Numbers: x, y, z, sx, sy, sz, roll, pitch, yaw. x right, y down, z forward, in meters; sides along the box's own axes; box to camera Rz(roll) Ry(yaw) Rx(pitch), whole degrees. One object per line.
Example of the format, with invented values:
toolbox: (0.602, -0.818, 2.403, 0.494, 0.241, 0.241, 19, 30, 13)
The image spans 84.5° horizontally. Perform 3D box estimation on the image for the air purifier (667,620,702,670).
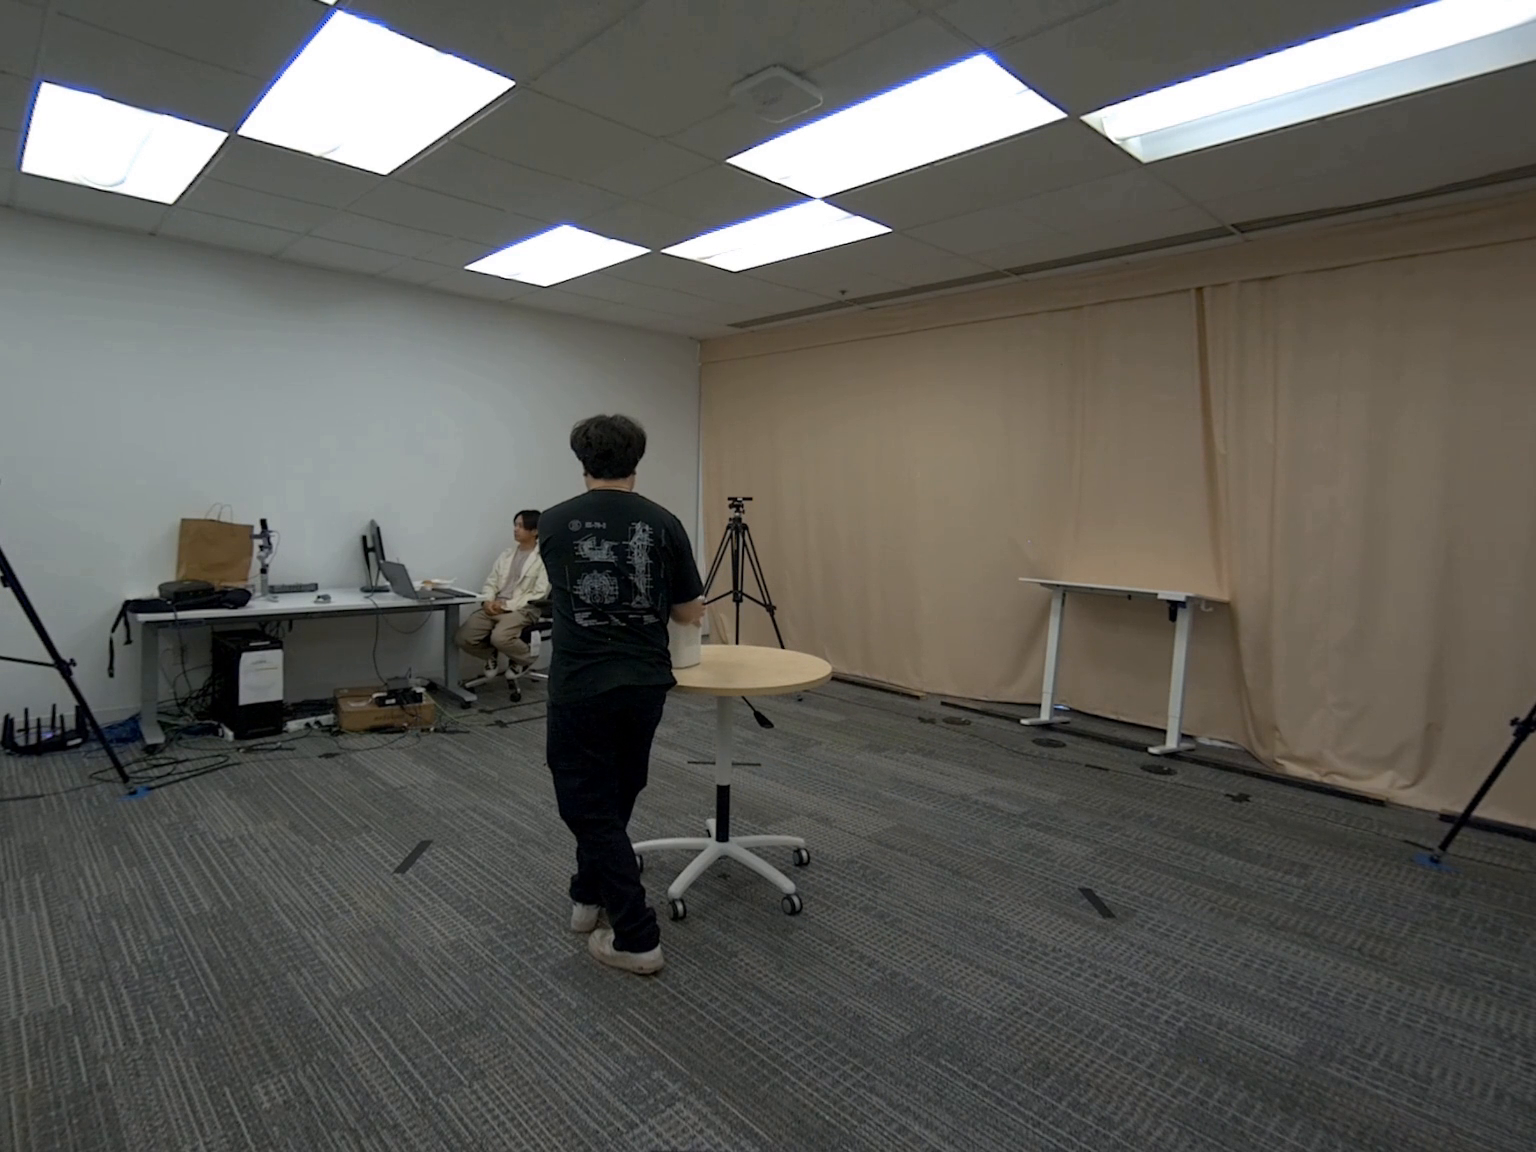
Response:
air purifier: (-0.344, 0.188, 3.024, 0.175, 0.264, 0.168, 4, 5, 29)
